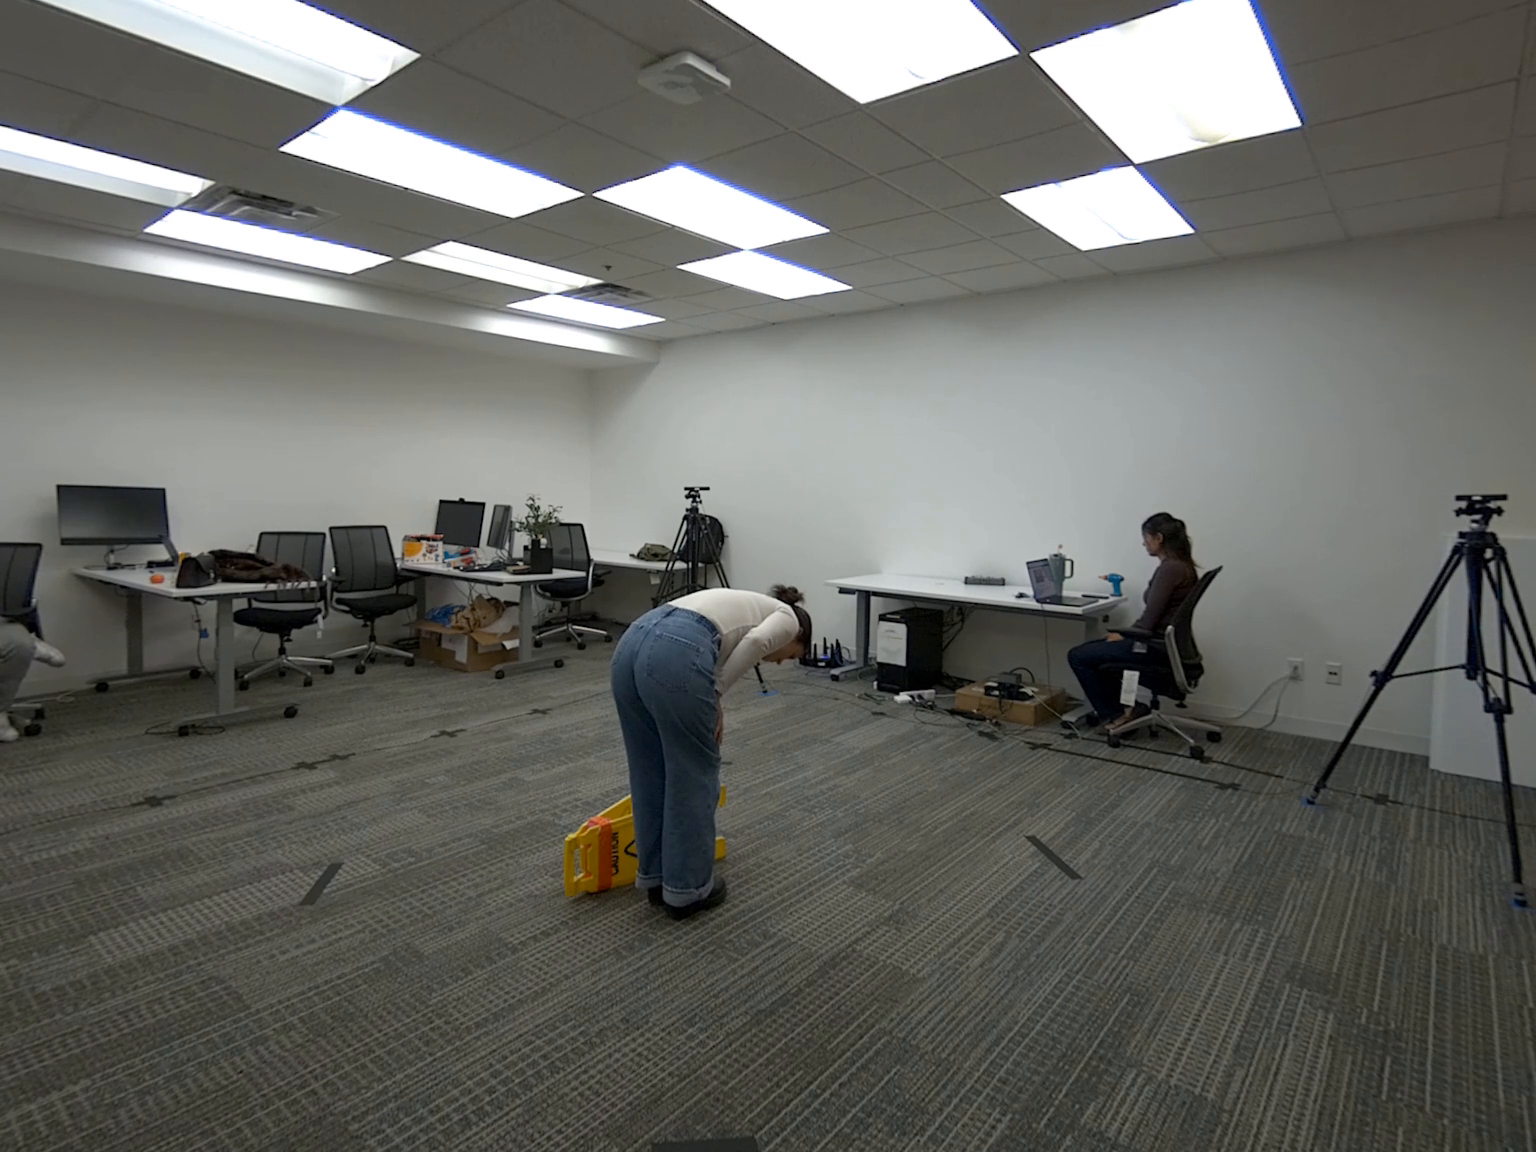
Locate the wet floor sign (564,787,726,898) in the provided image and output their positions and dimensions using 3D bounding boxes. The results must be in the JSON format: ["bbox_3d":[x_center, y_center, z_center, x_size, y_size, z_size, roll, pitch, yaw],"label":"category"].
[{"bbox_3d":[-0.472,0.936,3.052,0.299,0.281,0.628,3,7,41],"label":"wet floor sign"}]
